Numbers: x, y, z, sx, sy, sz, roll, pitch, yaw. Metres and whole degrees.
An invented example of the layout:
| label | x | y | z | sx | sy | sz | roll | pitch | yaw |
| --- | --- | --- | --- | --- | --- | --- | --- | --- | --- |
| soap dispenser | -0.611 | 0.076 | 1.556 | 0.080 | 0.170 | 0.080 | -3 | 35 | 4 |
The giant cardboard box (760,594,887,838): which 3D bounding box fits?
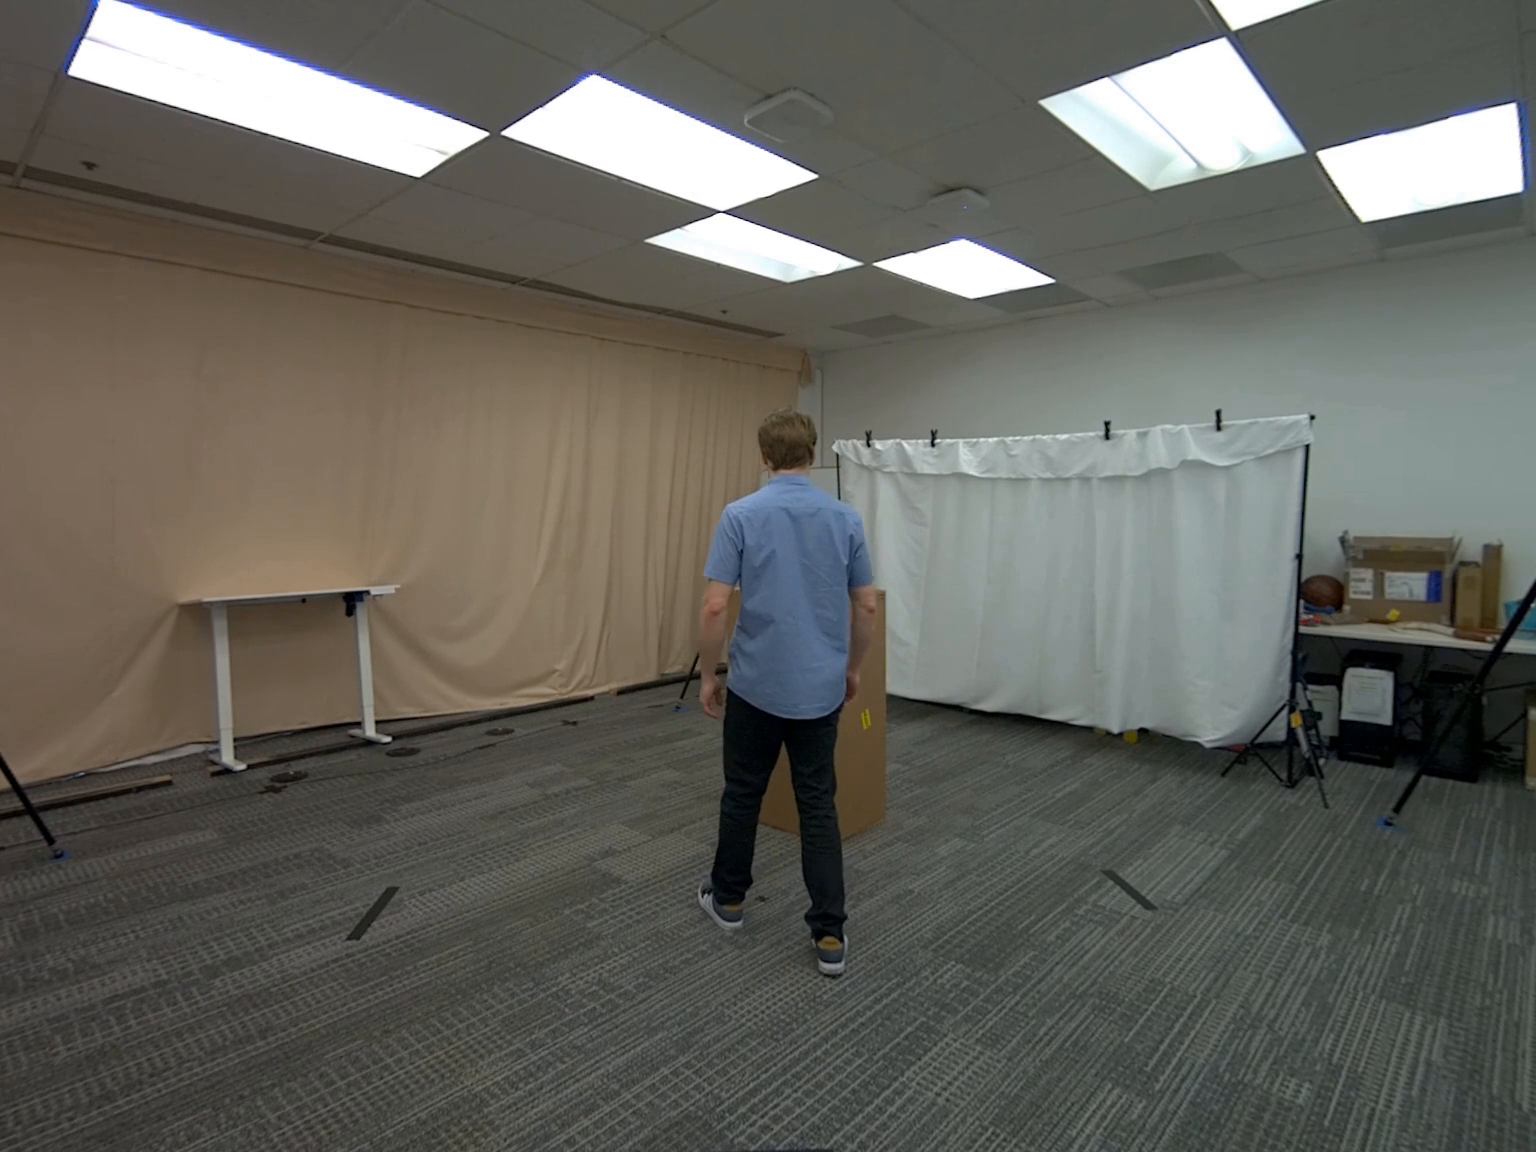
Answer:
| label | x | y | z | sx | sy | sz | roll | pitch | yaw |
| --- | --- | --- | --- | --- | --- | --- | --- | --- | --- |
| giant cardboard box | 0.172 | 0.571 | 3.771 | 0.596 | 1.024 | 0.413 | 2 | 3 | 43 |
